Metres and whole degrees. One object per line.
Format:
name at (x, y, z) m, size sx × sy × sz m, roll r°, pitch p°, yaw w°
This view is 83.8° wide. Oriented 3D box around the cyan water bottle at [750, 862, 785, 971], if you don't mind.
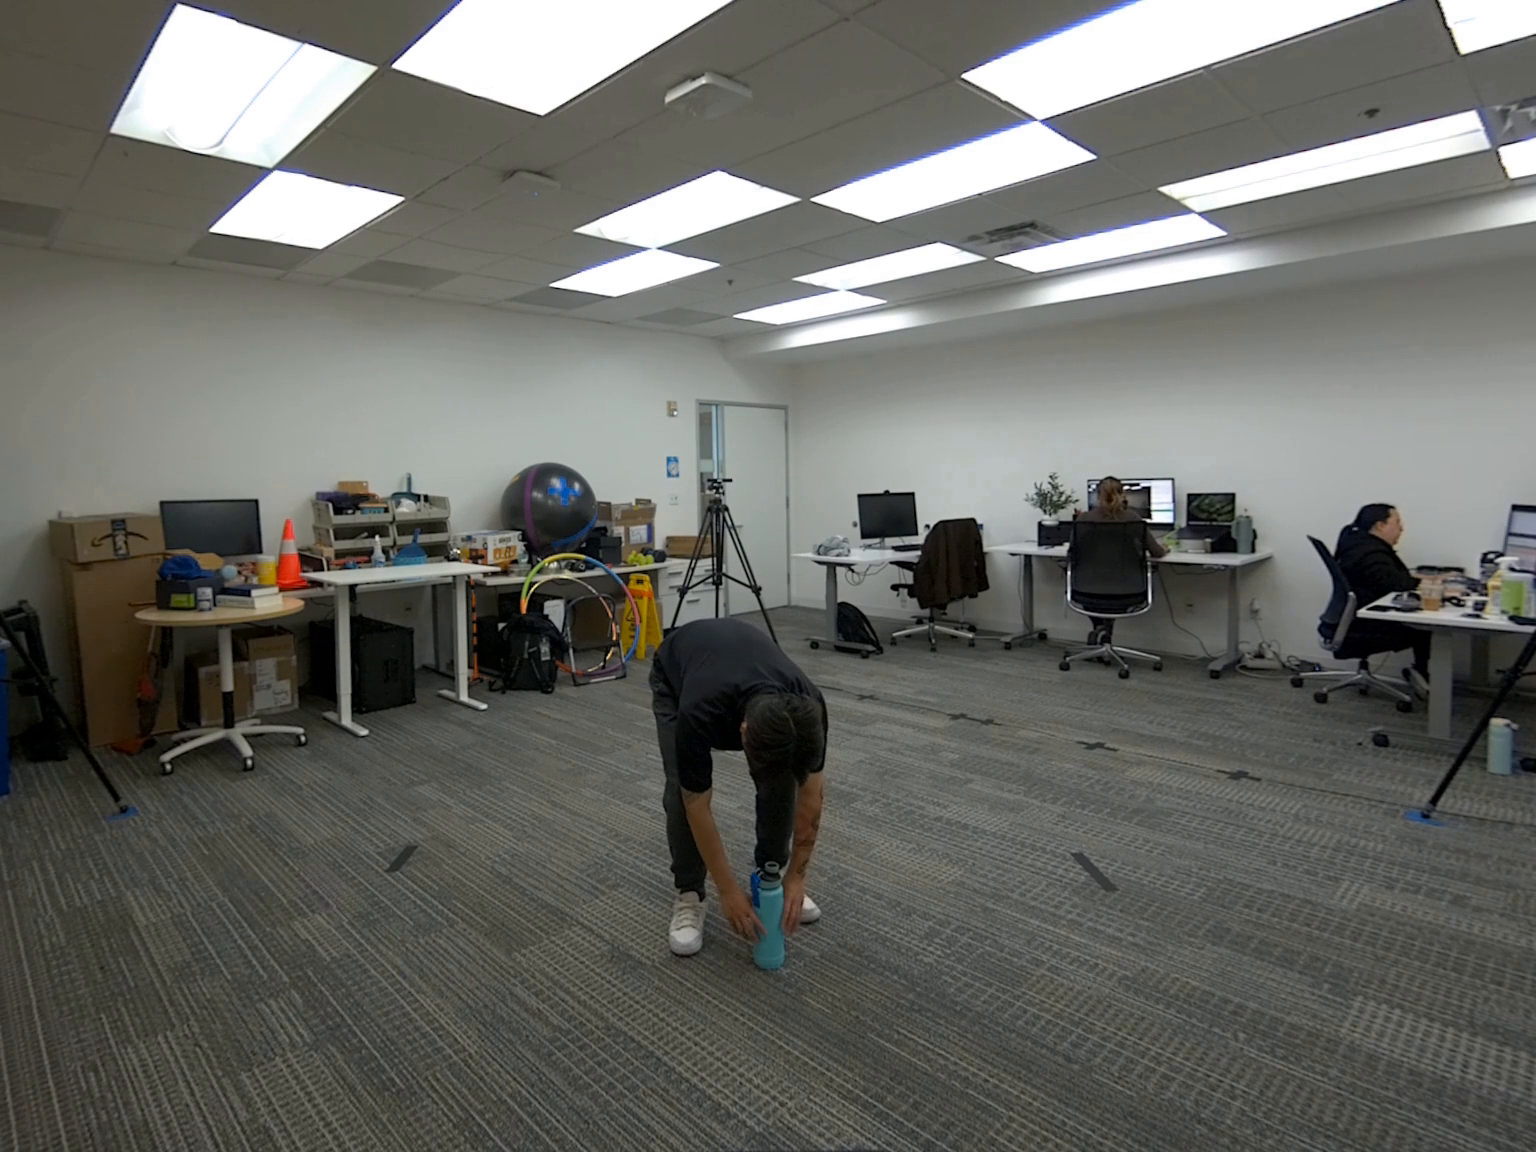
cyan water bottle at (-0.008, 0.979, 2.476) m, size 0.092 × 0.282 × 0.093 m, roll -3°, pitch 3°, yaw -1°
